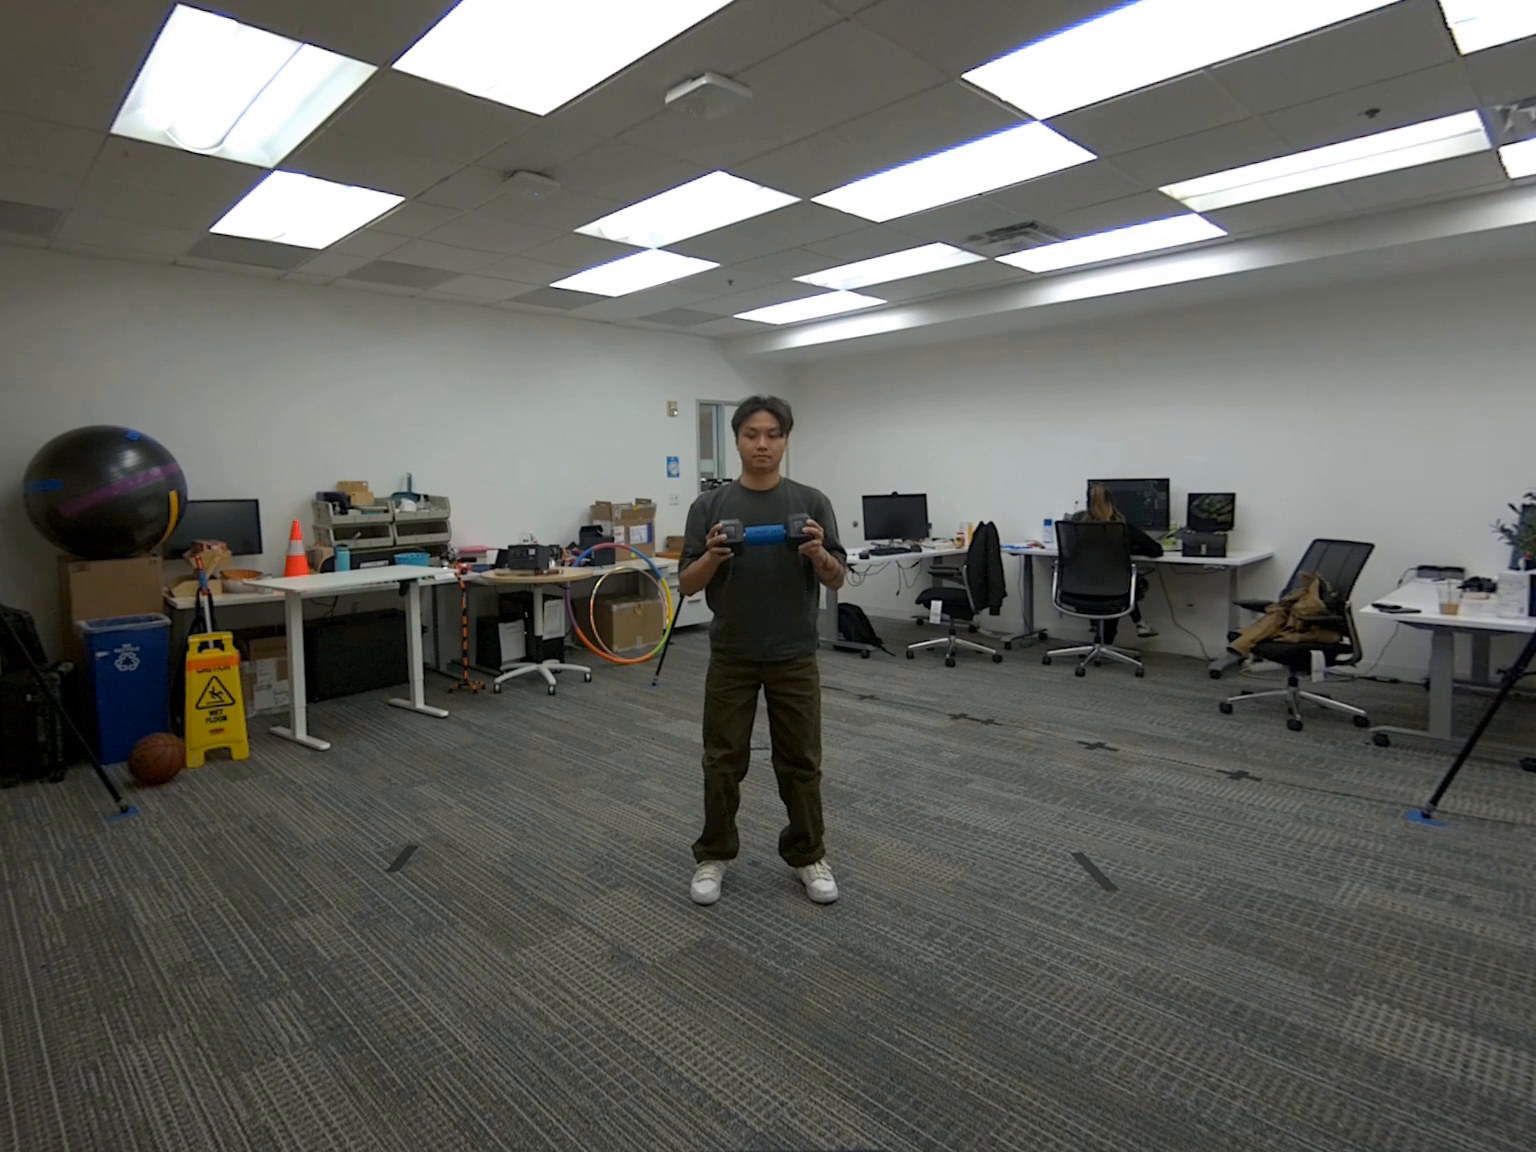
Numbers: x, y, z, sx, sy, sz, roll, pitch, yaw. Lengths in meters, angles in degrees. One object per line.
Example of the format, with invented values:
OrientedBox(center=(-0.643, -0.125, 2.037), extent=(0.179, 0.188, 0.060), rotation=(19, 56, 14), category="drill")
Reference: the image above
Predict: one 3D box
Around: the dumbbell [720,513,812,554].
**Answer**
OrientedBox(center=(-0.015, -0.118, 2.664), extent=(0.294, 0.119, 0.112), rotation=(-8, 41, 2), category="dumbbell")
